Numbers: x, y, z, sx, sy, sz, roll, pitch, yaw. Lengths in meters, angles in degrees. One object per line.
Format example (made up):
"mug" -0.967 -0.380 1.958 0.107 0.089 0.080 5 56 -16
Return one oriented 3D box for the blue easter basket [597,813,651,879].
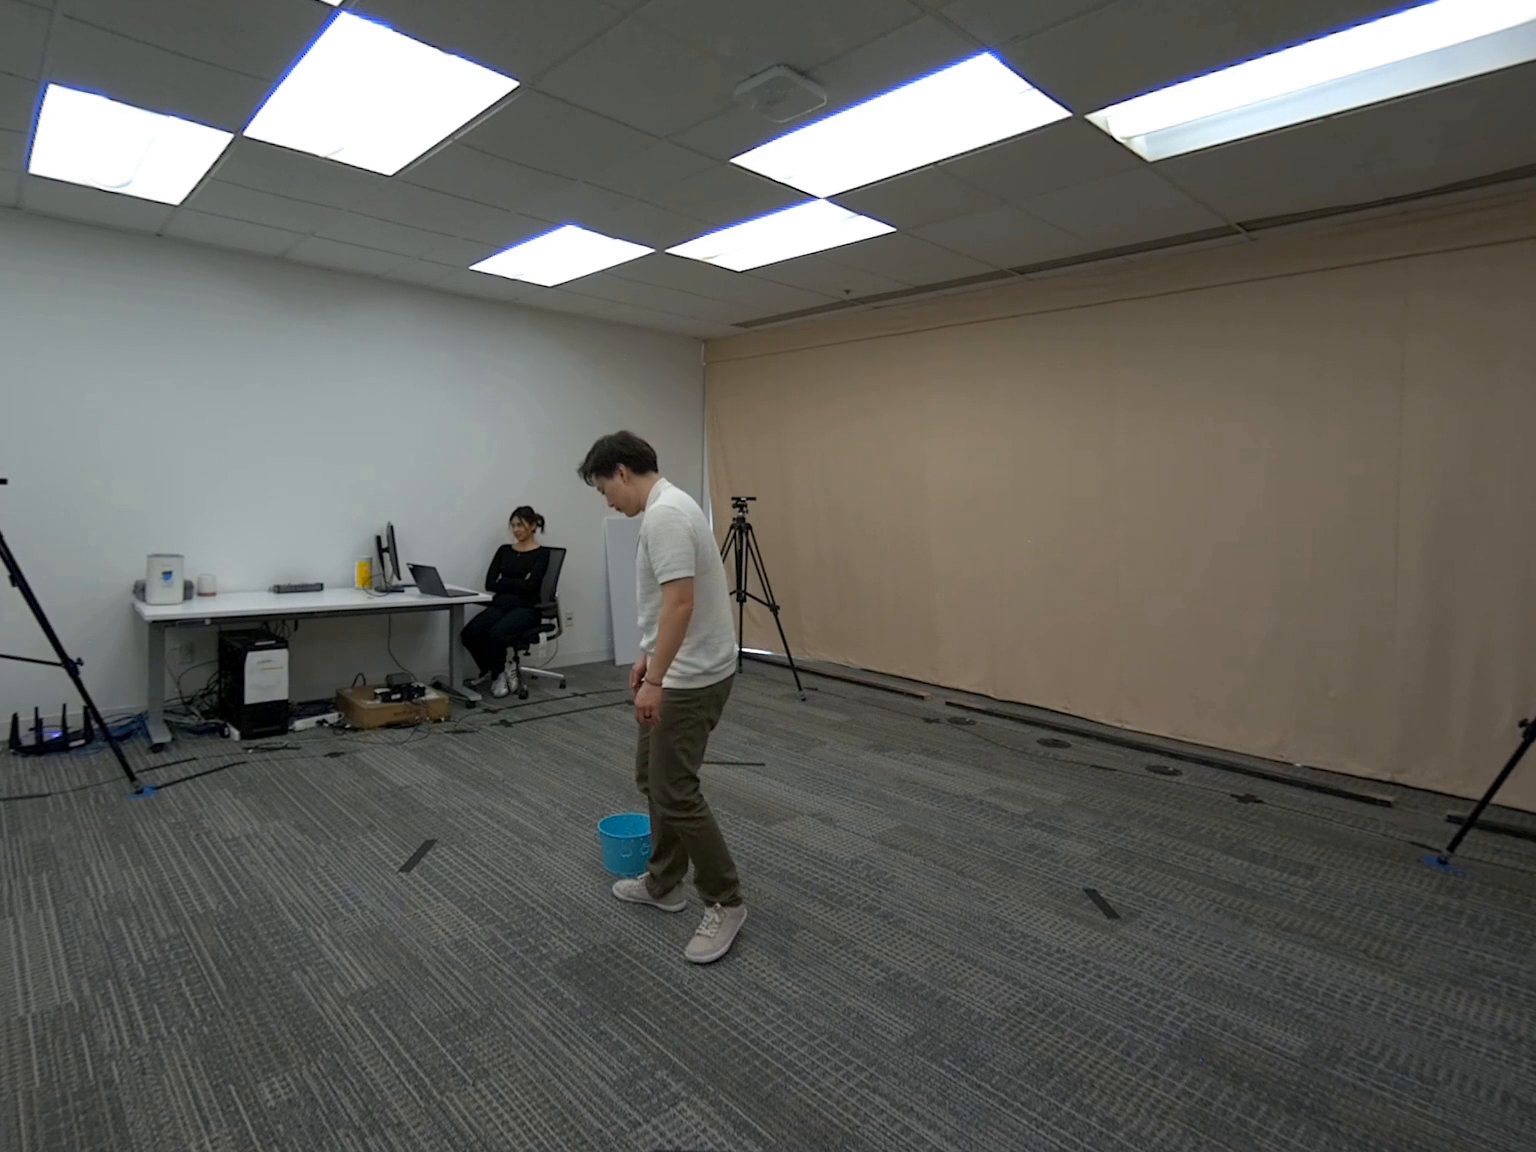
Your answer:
"blue easter basket" -0.533 1.014 3.183 0.243 0.155 0.244 2 5 -1
